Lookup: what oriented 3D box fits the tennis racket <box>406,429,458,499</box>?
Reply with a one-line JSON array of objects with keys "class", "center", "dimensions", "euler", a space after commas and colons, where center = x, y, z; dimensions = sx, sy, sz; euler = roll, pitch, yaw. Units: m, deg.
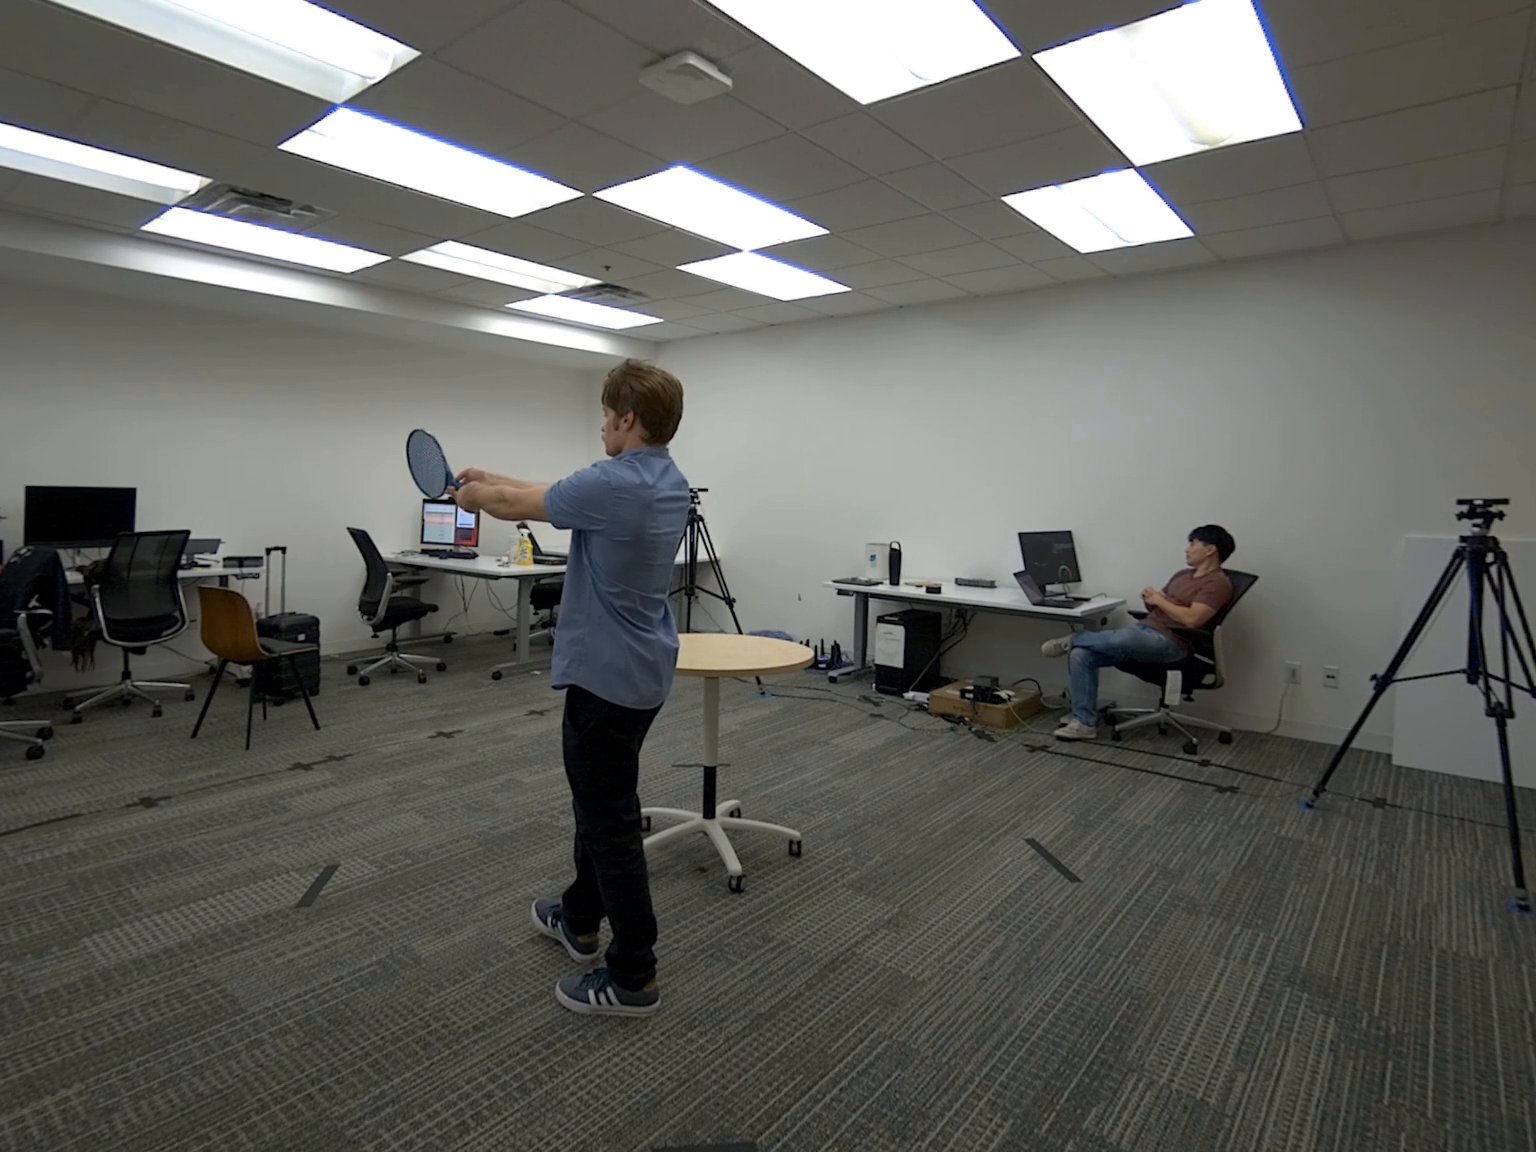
[{"class": "tennis racket", "center": [-1.026, -0.308, 2.638], "dimensions": [0.031, 0.211, 0.451], "euler": [-10, 38, -43]}]
